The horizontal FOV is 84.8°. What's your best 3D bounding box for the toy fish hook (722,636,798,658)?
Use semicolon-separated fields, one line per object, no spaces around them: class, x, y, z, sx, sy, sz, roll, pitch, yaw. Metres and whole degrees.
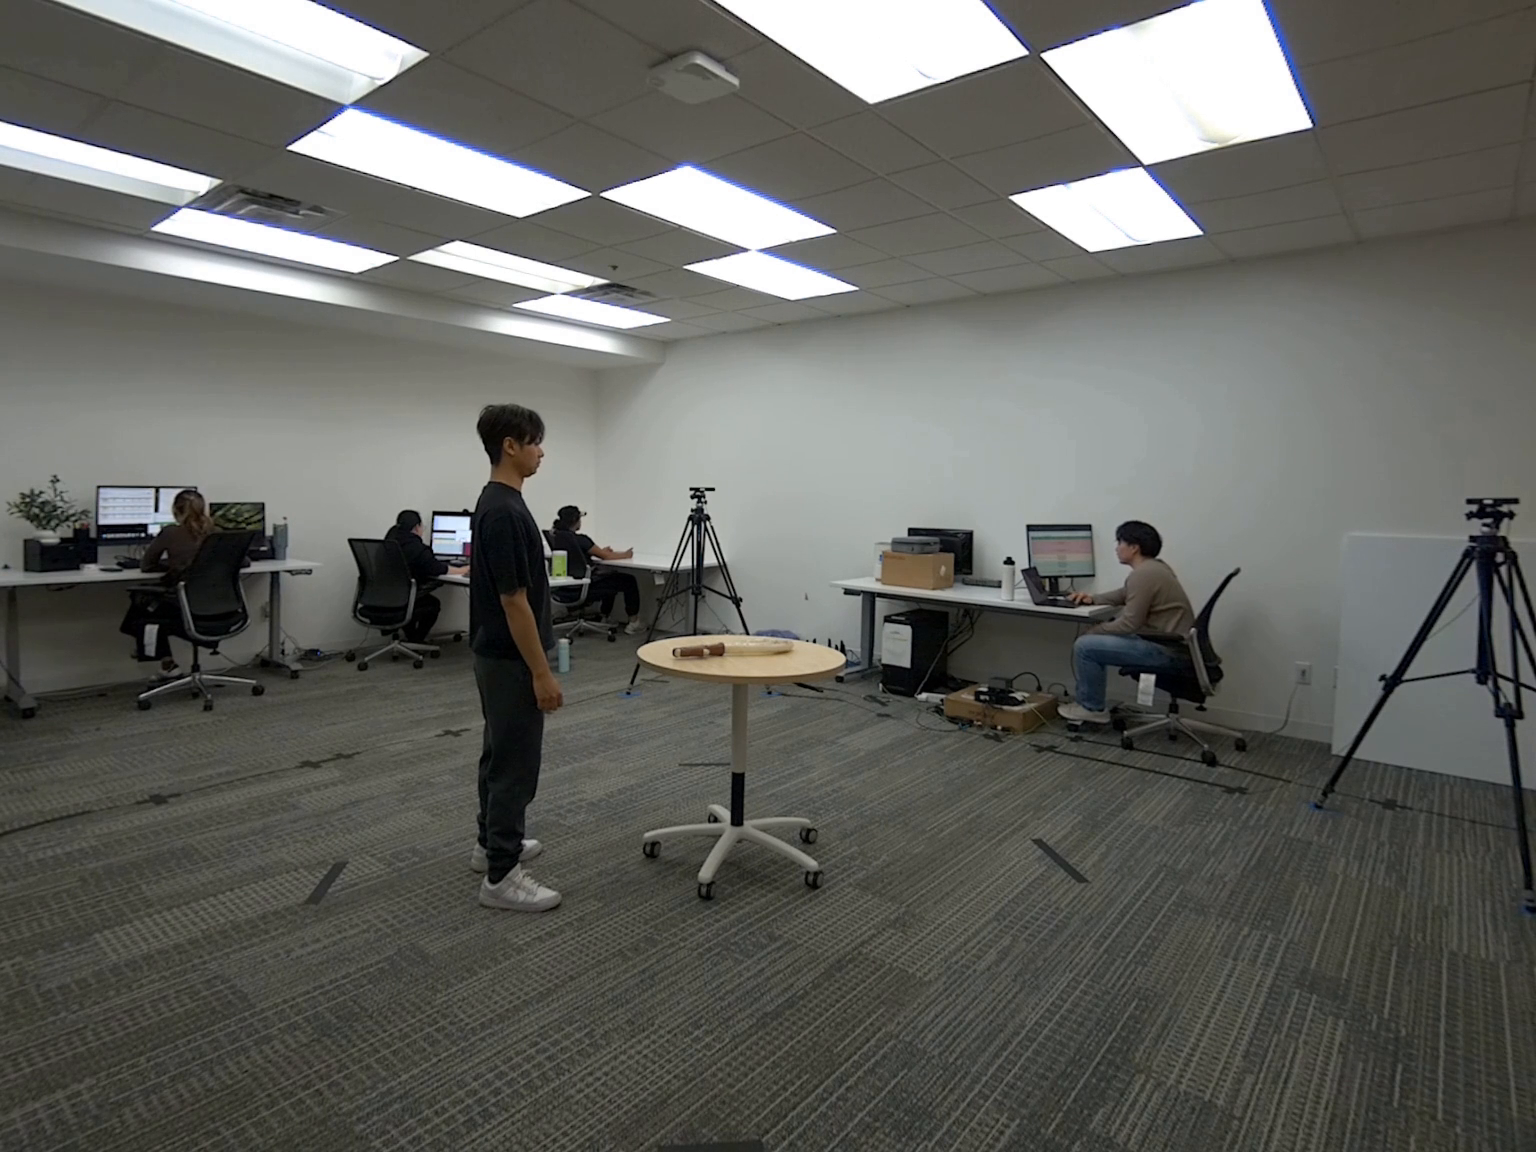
toy fish hook;-0.165;0.272;3.152;0.493;0.048;0.230;0;1;-27
